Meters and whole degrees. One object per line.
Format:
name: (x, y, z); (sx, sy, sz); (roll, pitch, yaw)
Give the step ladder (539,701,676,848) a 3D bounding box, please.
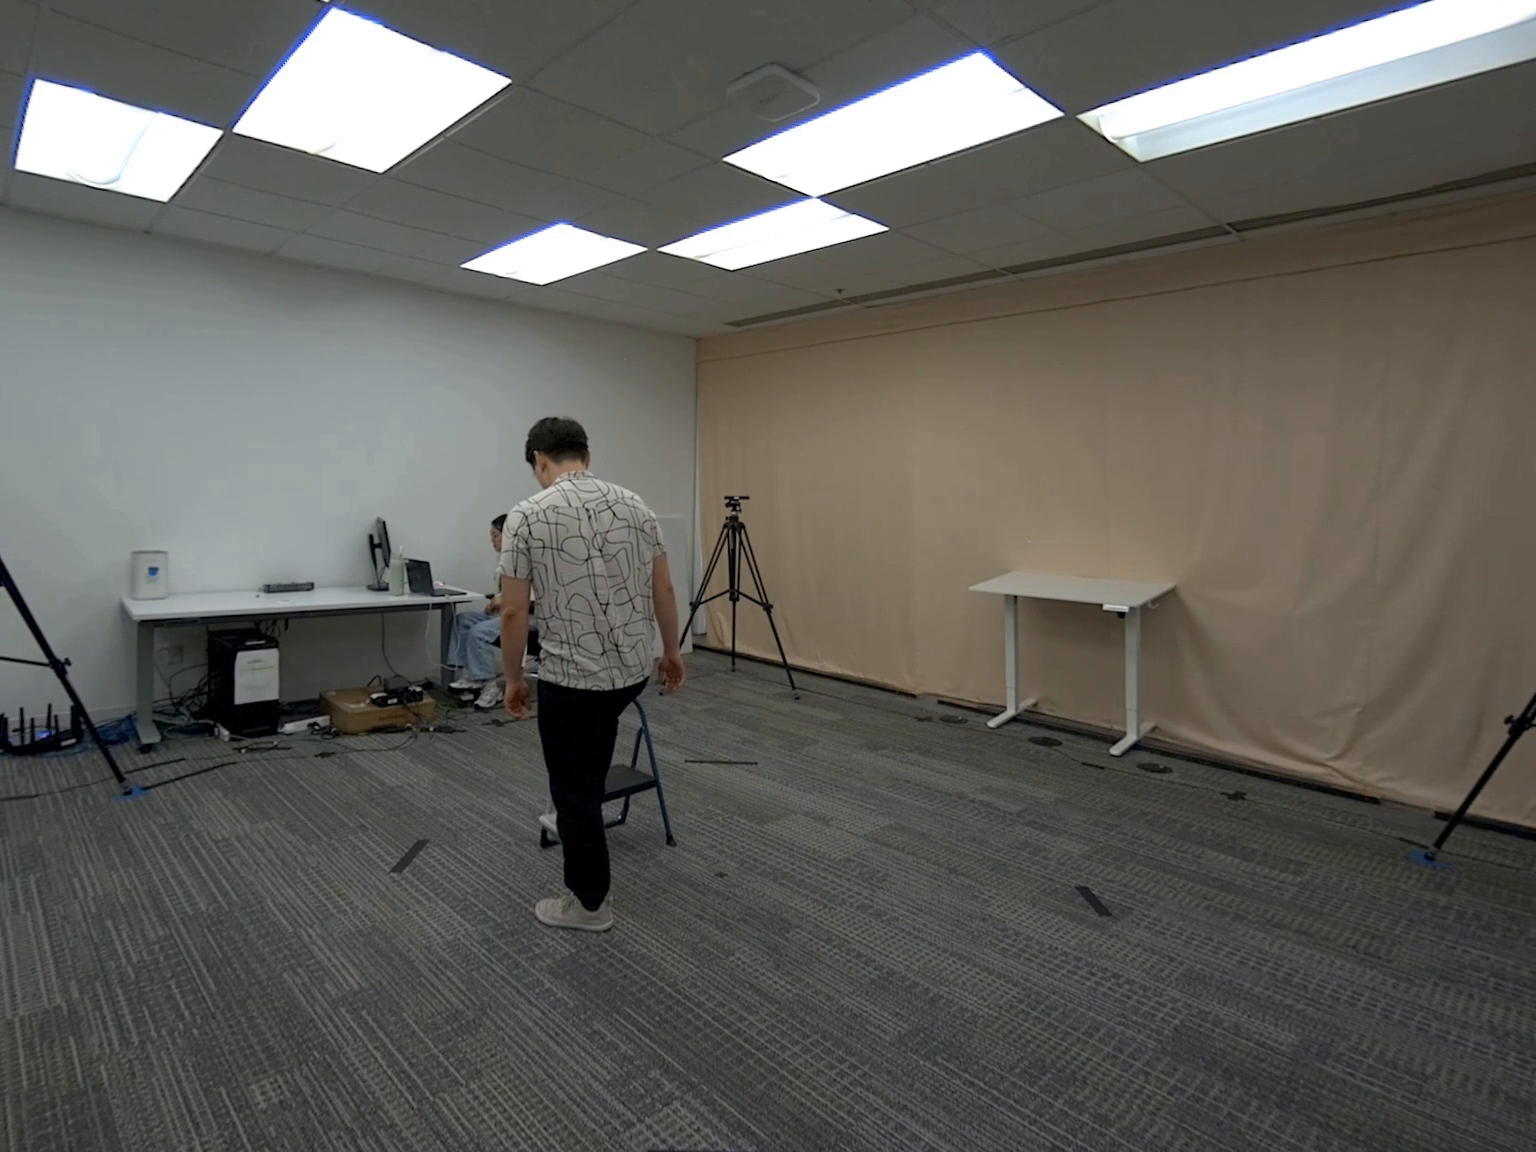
step ladder: (-0.633, 0.771, 3.323); (0.358, 0.605, 0.421); (4, 5, 43)
